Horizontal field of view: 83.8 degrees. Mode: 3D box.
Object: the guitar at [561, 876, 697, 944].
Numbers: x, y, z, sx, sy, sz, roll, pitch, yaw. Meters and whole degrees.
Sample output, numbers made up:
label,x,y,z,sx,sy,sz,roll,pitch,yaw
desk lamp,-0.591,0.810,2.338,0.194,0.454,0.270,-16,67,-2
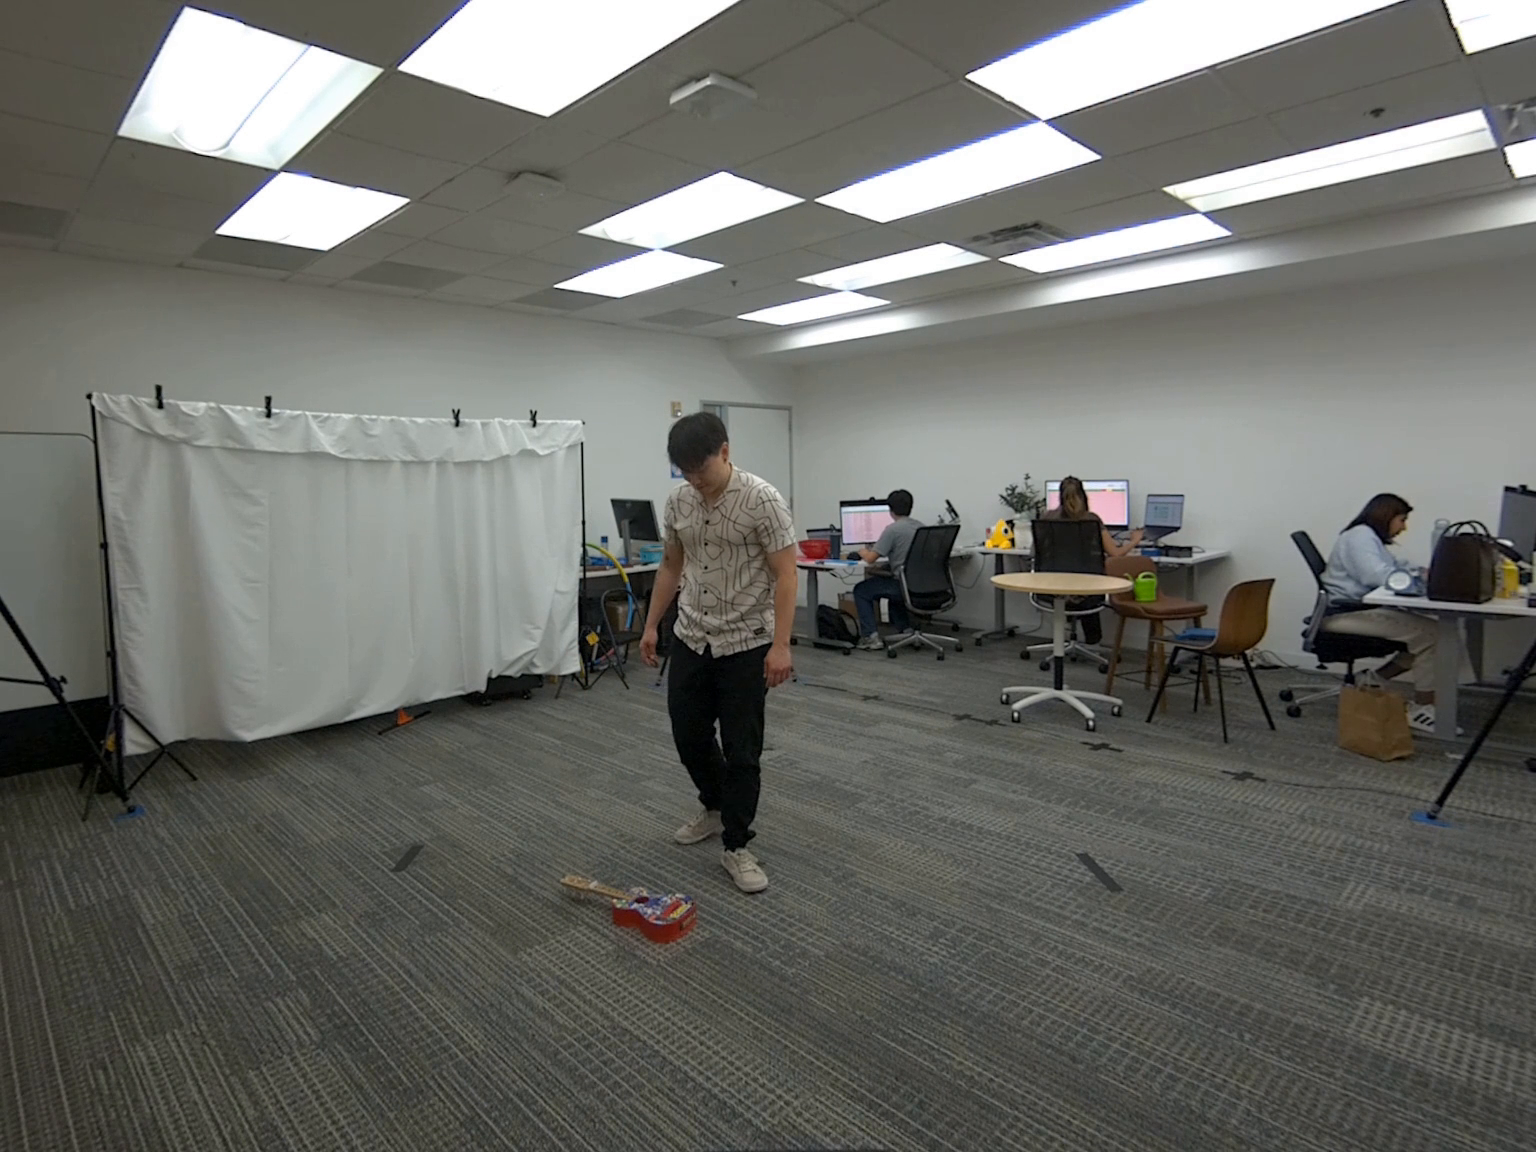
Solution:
label,x,y,z,sx,sy,sz,roll,pitch,yaw
guitar,-0.450,1.060,2.791,0.513,0.070,0.188,5,9,37
